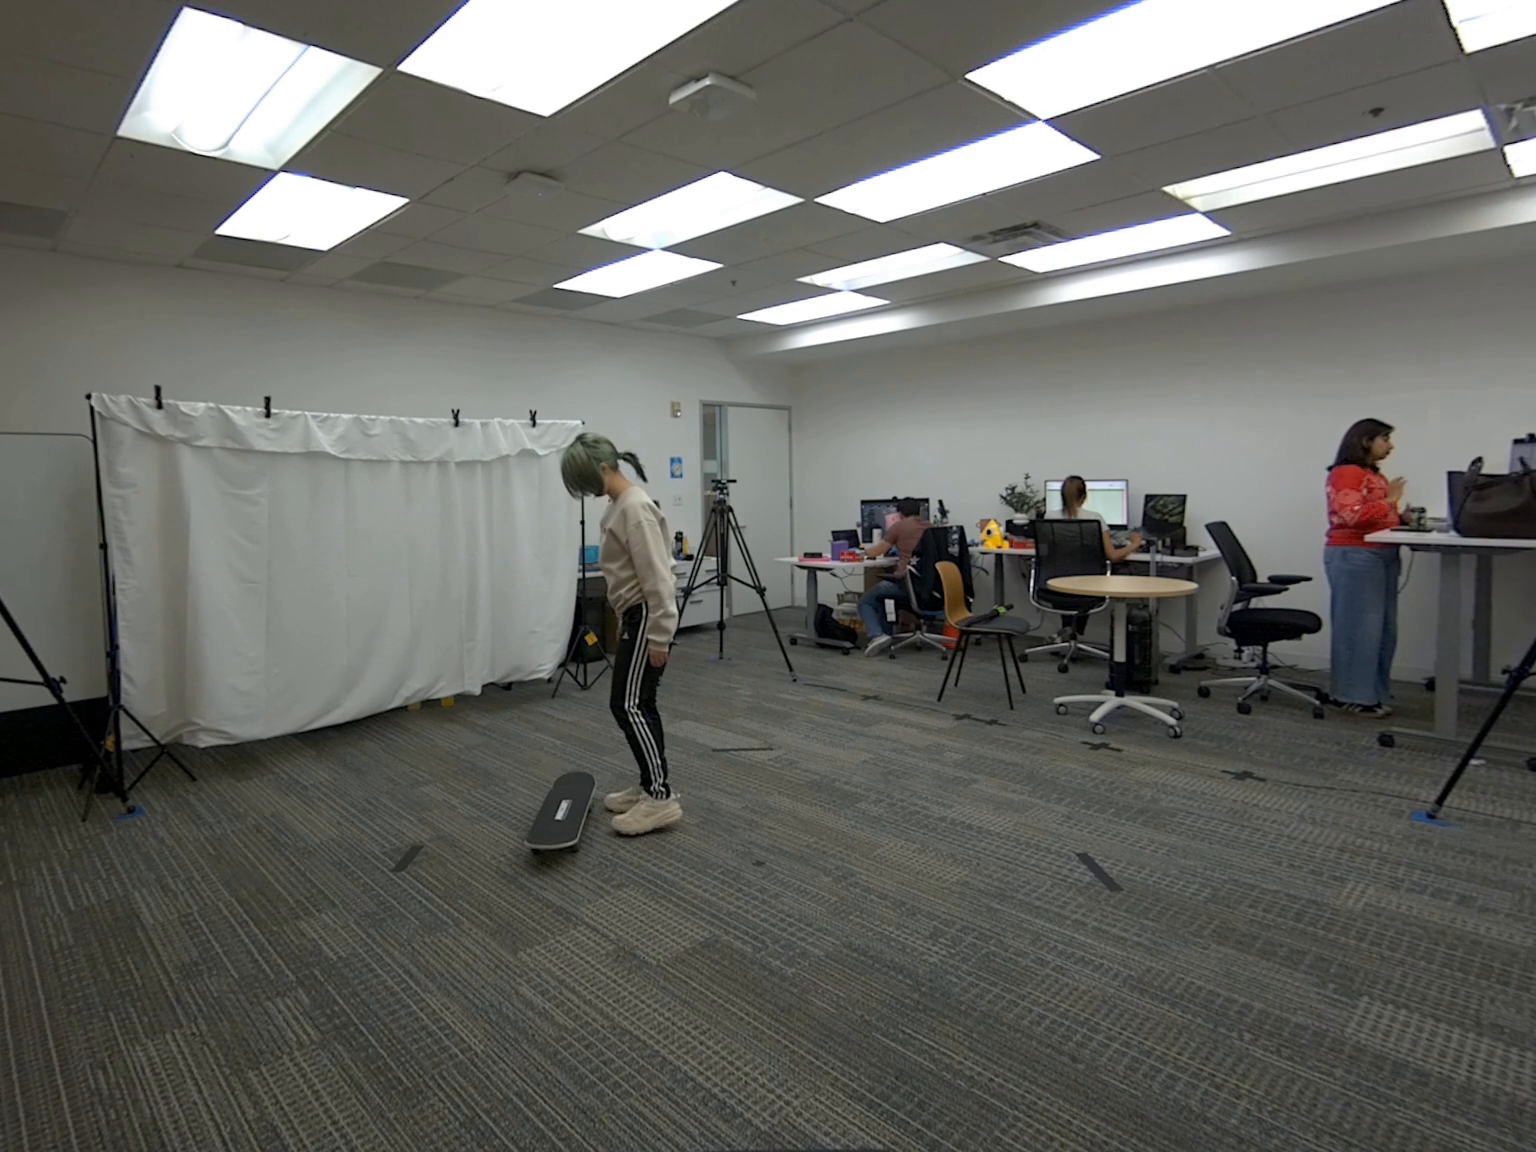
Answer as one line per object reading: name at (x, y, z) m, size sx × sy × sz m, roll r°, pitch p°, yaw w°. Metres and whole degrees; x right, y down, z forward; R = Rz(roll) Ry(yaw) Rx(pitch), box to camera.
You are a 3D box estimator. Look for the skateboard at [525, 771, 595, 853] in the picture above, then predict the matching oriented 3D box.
skateboard at (-0.817, 0.968, 3.428) m, size 0.193 × 0.110 × 0.791 m, roll -3°, pitch 6°, yaw -4°
